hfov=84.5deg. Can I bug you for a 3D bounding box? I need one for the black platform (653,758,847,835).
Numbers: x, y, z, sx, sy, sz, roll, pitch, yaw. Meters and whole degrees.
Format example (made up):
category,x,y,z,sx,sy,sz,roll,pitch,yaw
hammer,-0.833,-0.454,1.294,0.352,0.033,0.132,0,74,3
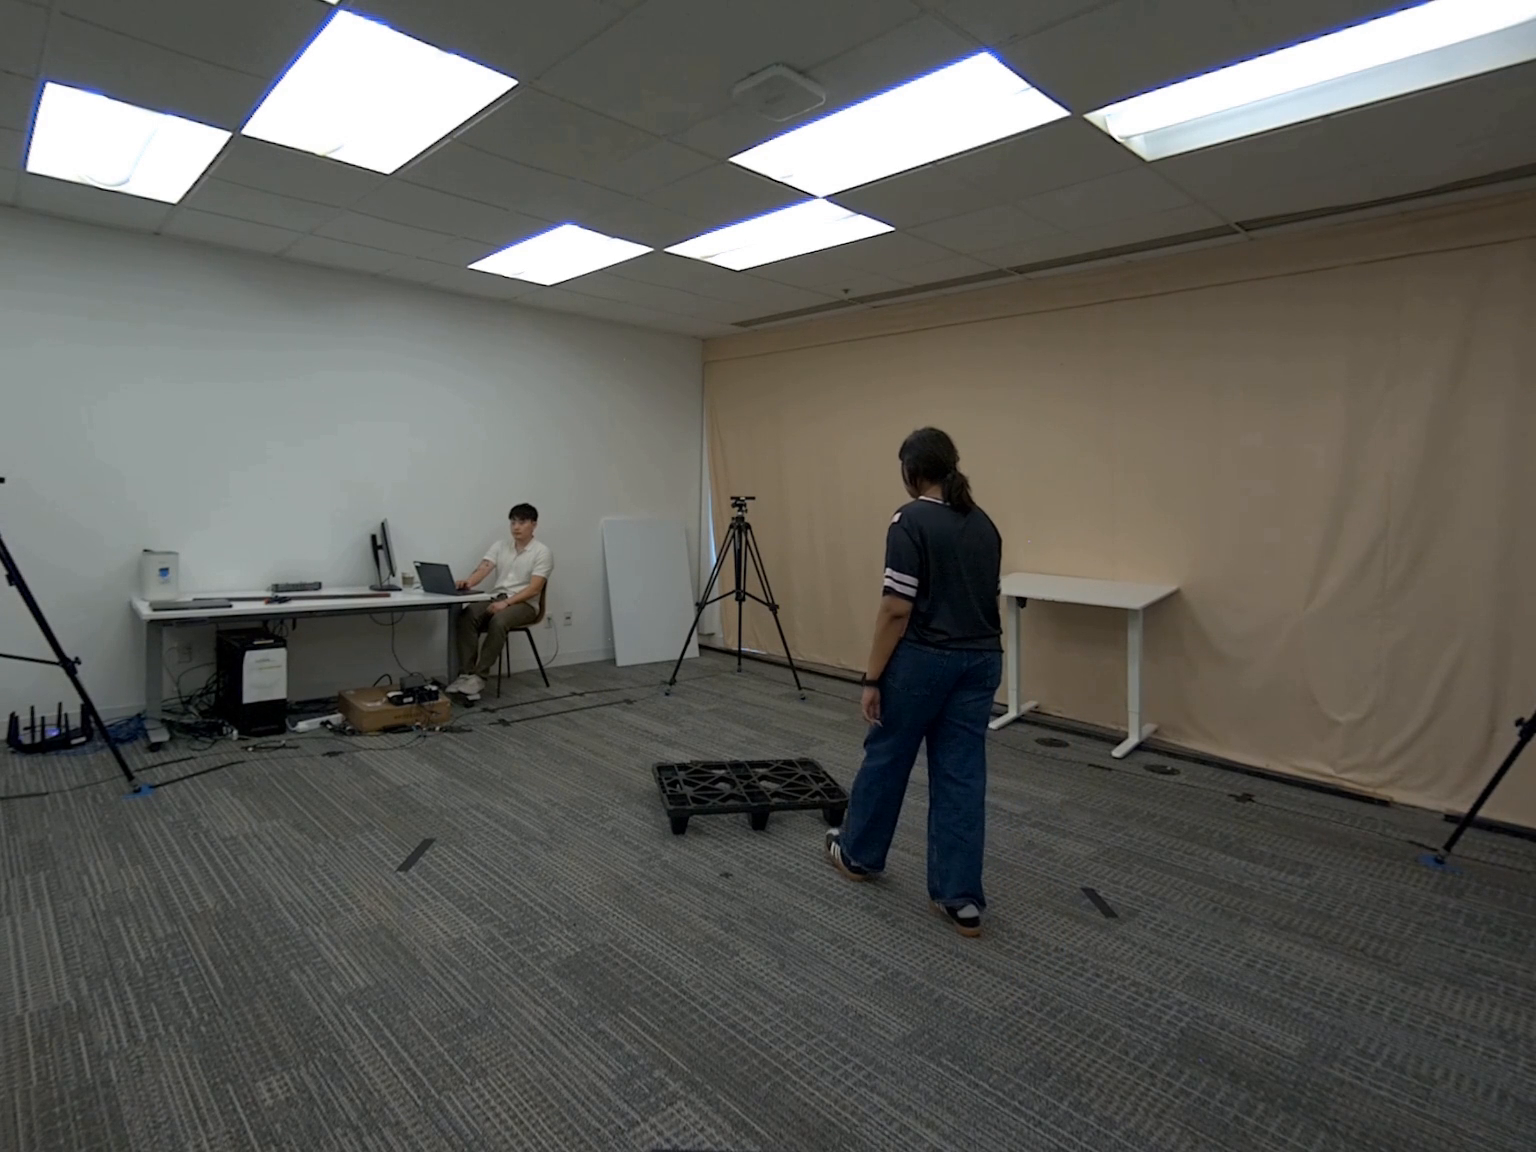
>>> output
category,x,y,z,sx,sy,sz,roll,pitch,yaw
black platform,-0.095,0.981,3.763,0.798,0.143,0.613,0,6,-12
